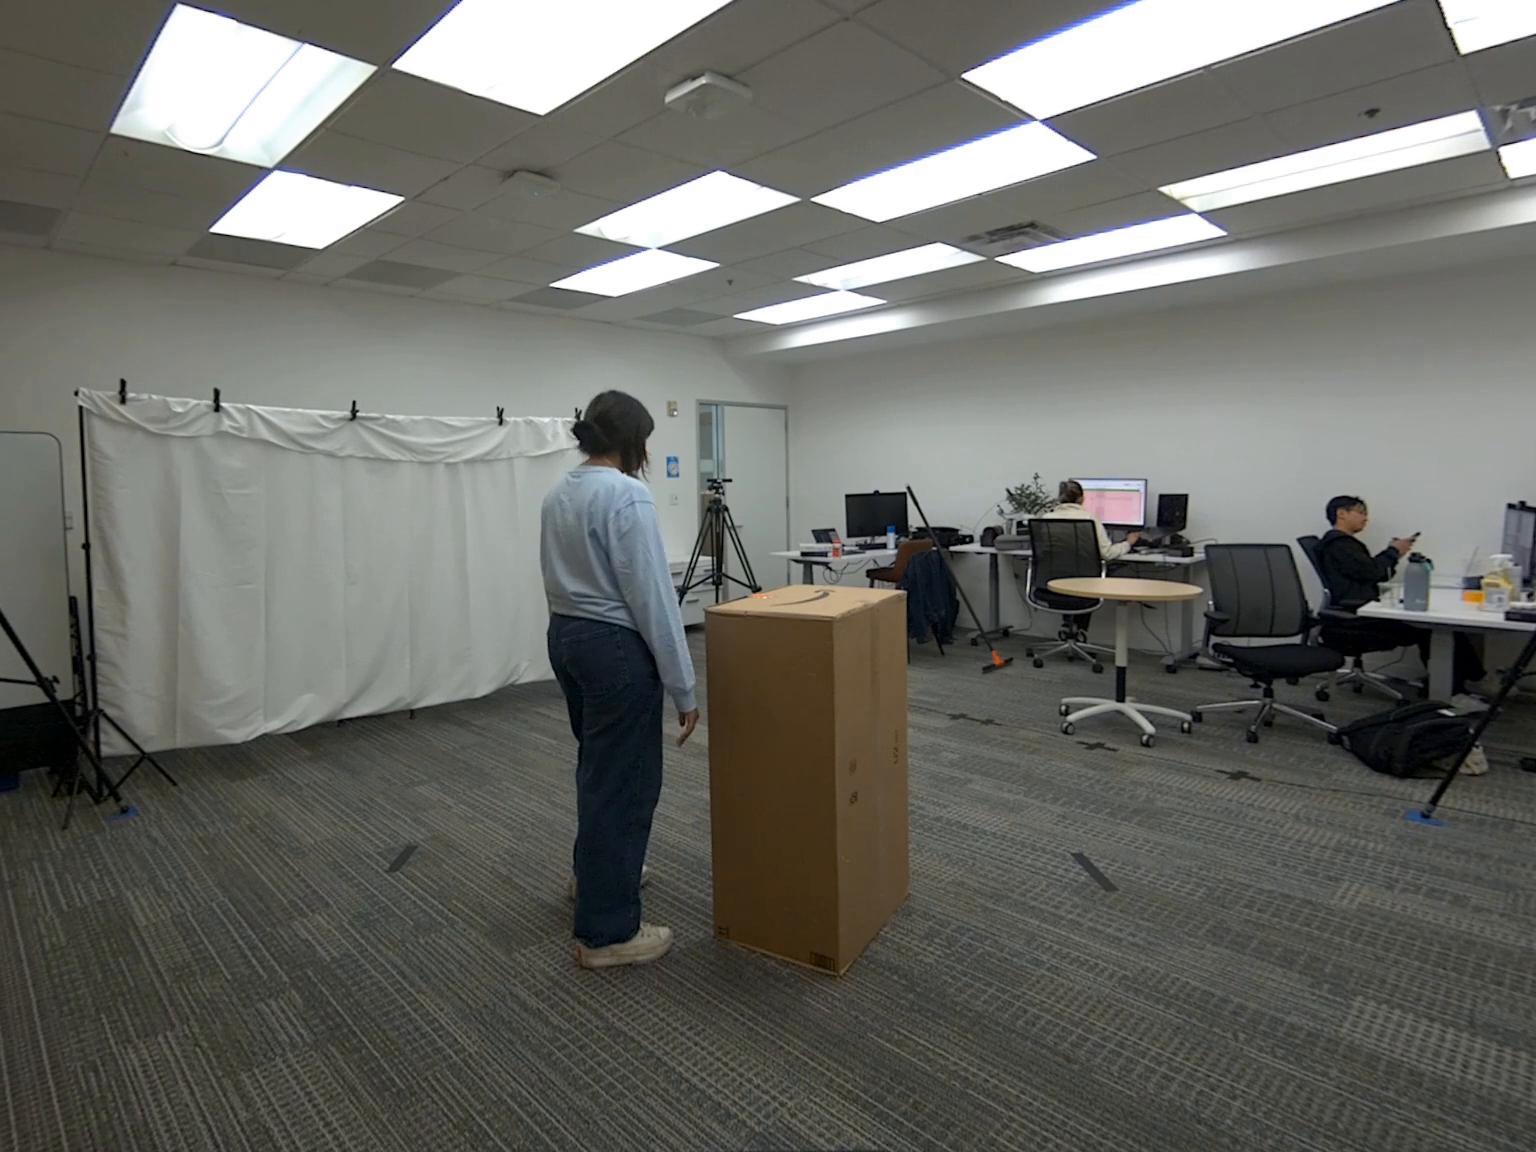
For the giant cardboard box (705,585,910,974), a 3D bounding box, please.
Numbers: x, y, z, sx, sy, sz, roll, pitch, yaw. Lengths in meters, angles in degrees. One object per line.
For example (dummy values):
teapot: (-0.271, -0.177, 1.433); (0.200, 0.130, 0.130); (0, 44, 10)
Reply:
giant cardboard box: (0.143, 0.582, 2.705); (0.438, 1.022, 0.564); (2, 5, 31)
